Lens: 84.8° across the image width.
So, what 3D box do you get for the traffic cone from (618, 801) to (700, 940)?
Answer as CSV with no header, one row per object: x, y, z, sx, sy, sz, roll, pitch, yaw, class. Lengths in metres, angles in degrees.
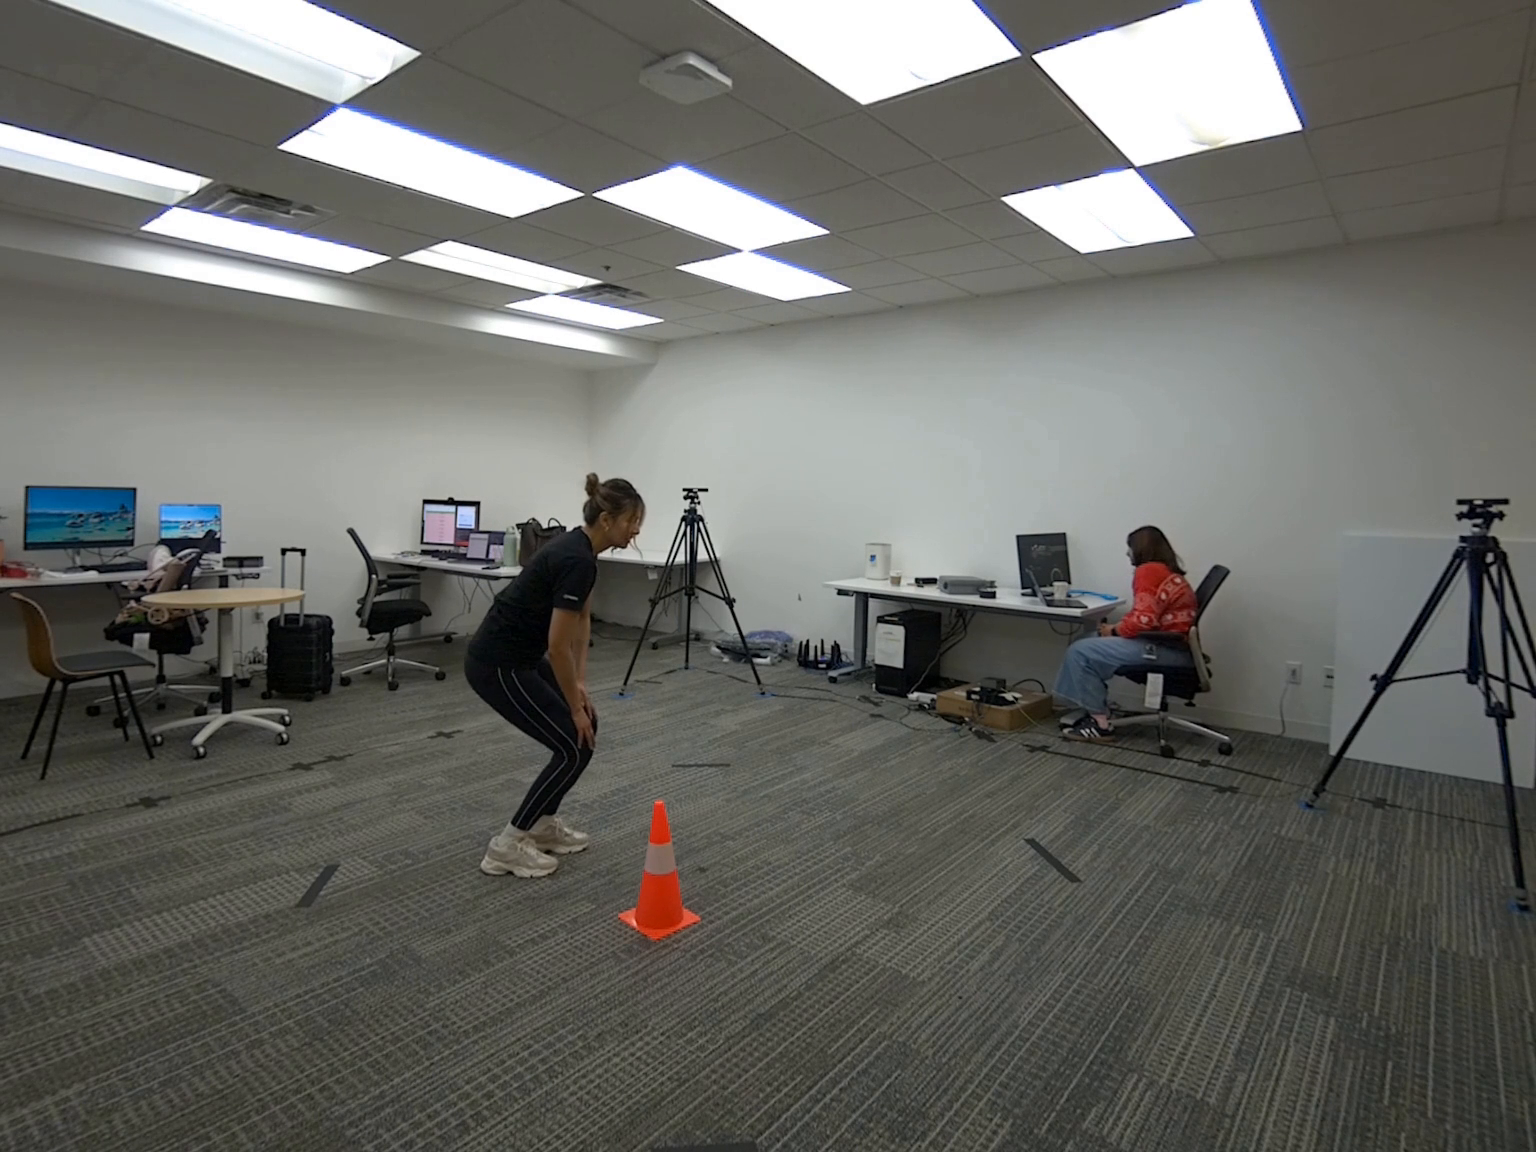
-0.352,0.920,2.736,0.210,0.382,0.199,3,4,35,traffic cone
